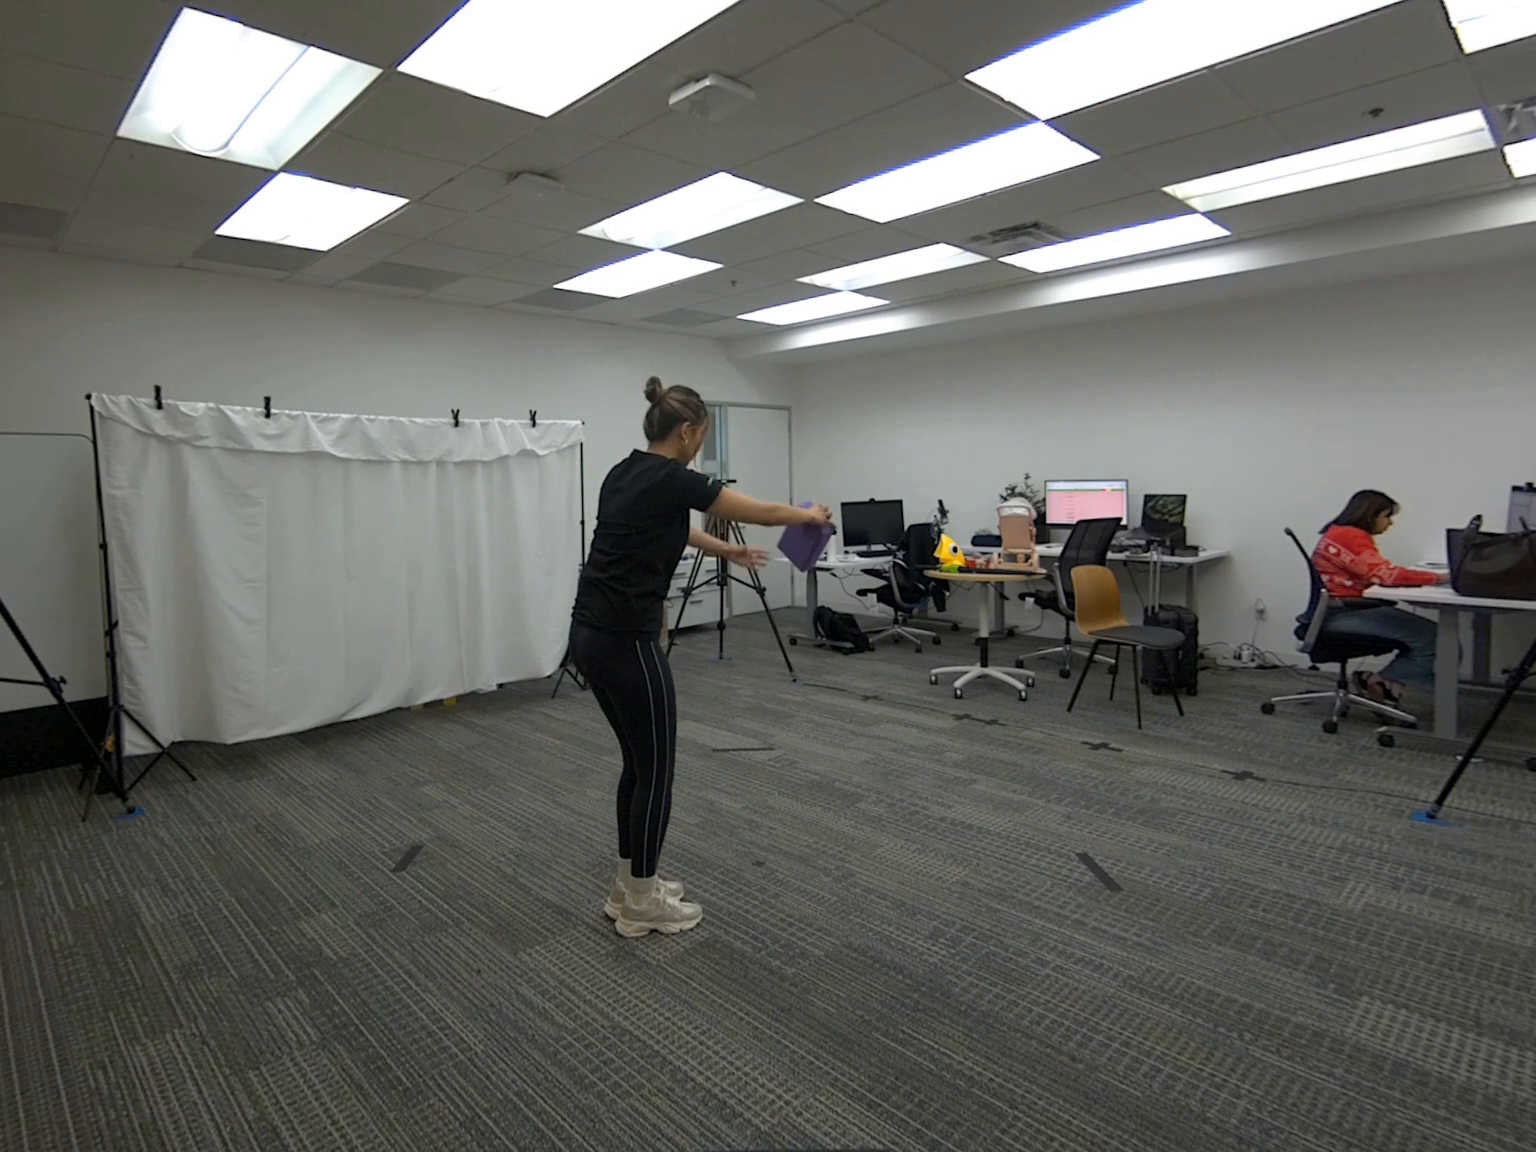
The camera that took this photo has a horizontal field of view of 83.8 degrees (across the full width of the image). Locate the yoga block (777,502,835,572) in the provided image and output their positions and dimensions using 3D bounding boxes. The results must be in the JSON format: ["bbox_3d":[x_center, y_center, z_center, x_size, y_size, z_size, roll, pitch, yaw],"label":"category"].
[{"bbox_3d":[0.130,-0.137,3.062,0.075,0.153,0.226,-26,-25,-37],"label":"yoga block"}]
